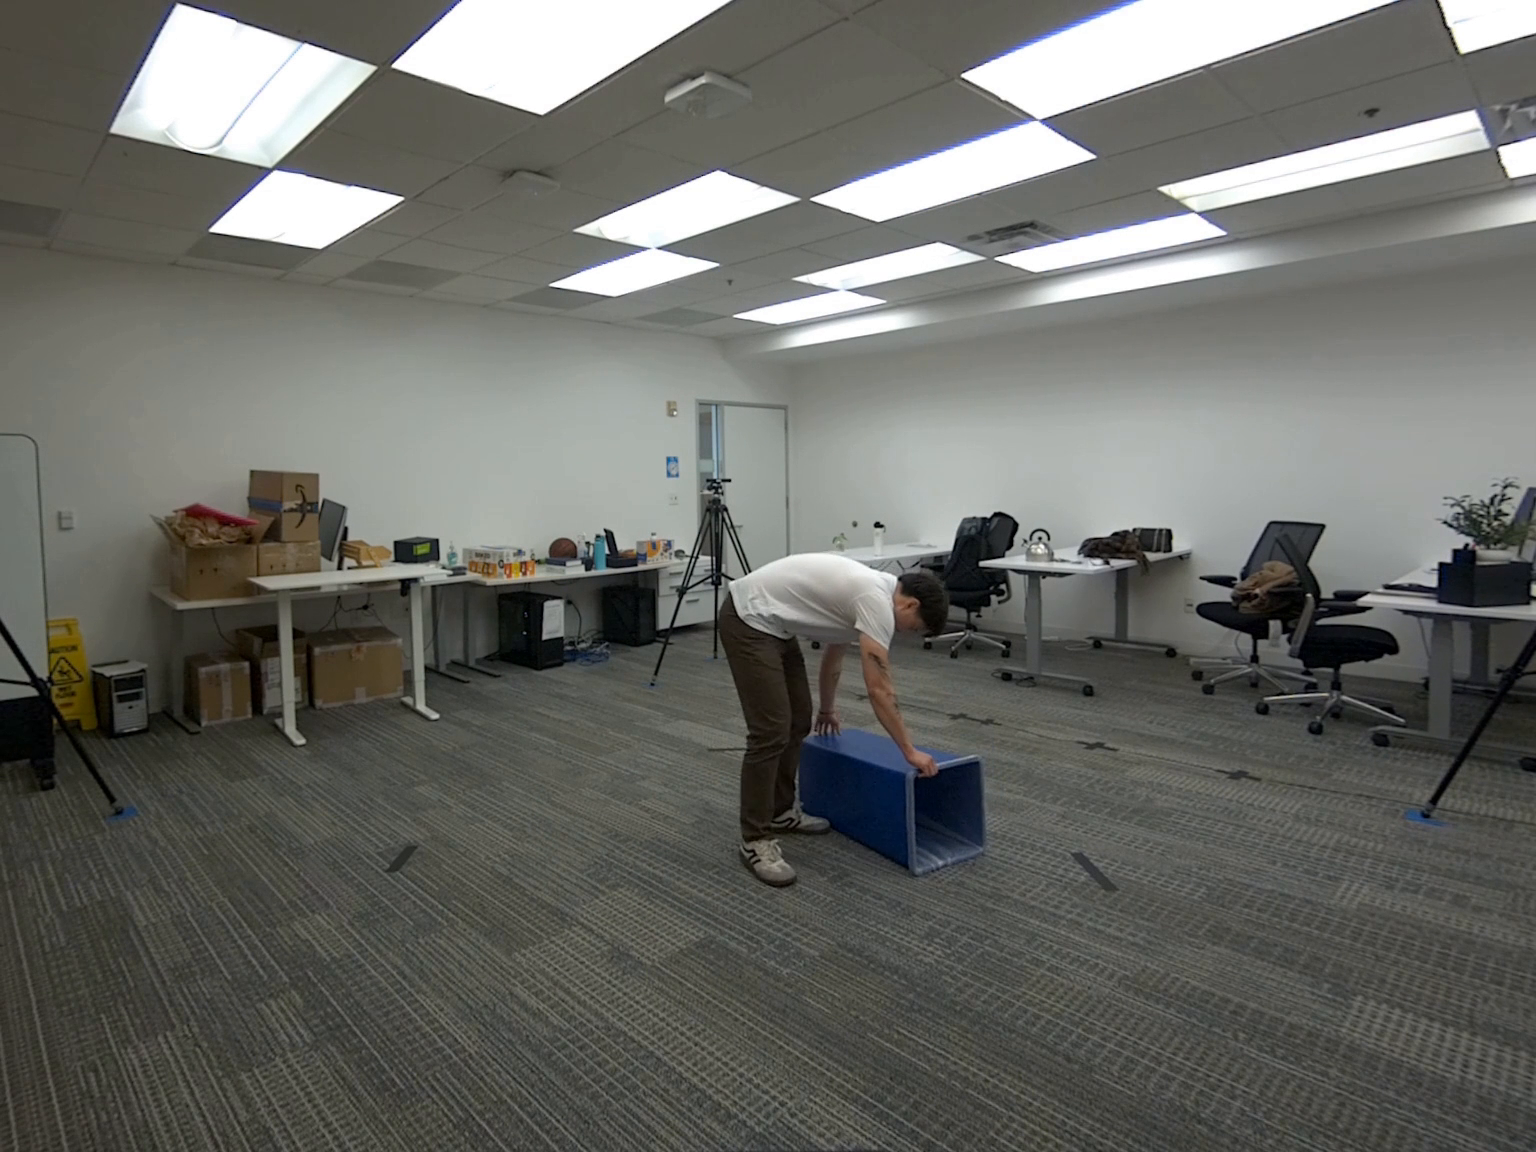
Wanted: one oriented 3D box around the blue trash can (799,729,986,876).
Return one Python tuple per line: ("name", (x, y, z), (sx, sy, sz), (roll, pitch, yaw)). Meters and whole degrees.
("blue trash can", (0.457, 0.837, 3.363), (0.365, 0.377, 0.733), (-5, 6, -32))
